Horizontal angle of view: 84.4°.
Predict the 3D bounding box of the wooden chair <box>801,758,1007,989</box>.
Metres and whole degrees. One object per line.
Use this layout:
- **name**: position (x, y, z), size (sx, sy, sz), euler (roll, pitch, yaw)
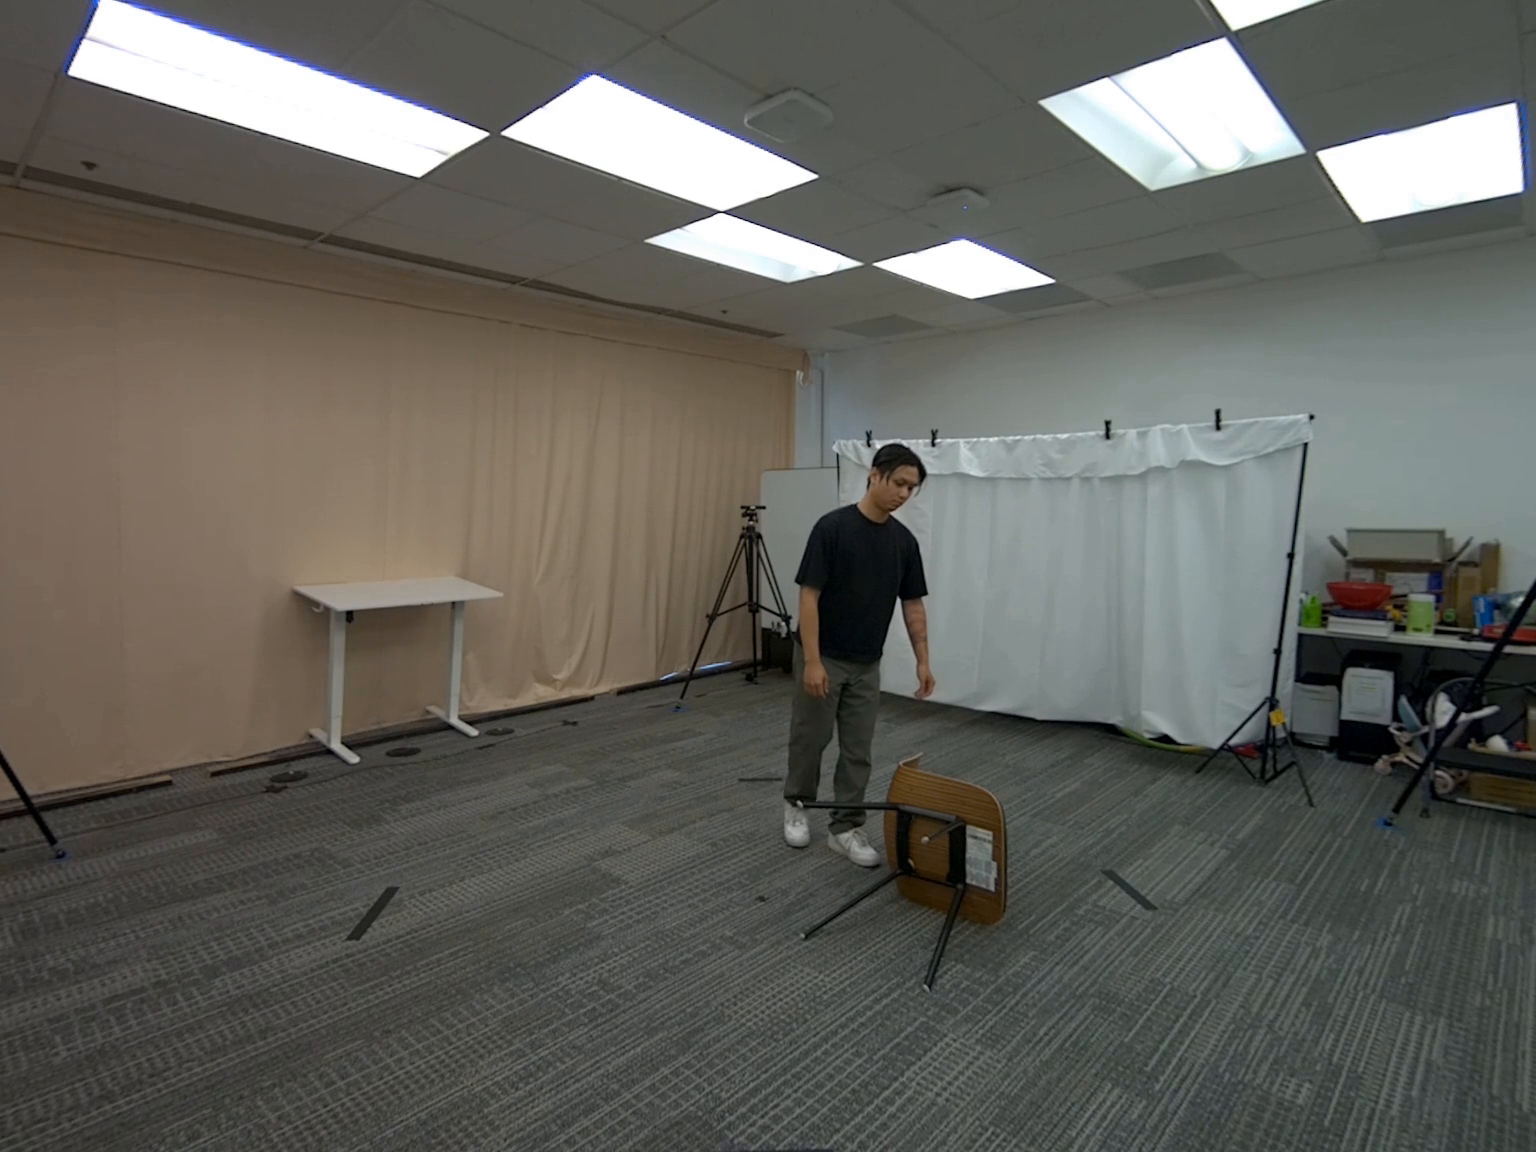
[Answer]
- **wooden chair**: position (0.553, 0.922, 2.850), size (0.539, 0.477, 0.852), euler (2, 5, 35)
